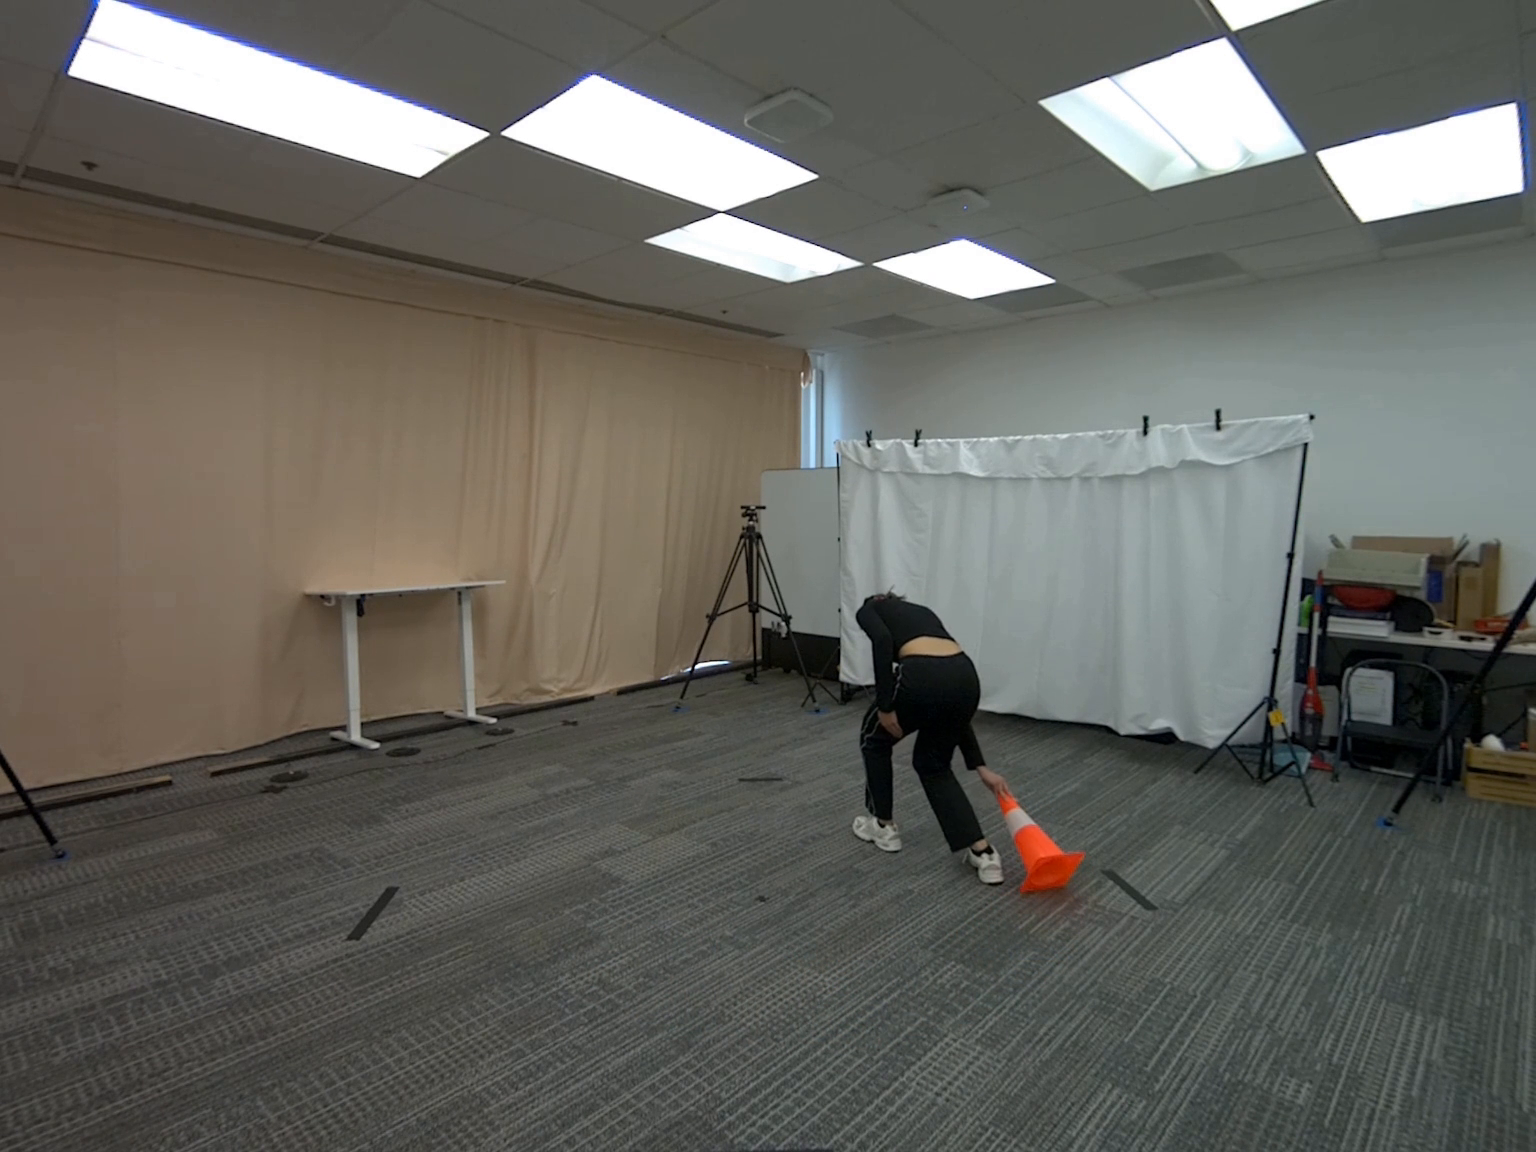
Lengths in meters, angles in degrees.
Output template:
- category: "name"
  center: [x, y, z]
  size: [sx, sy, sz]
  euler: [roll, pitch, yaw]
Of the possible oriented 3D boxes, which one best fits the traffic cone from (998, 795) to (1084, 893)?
- category: "traffic cone"
  center: [0.964, 0.948, 3.148]
  size: [0.201, 0.201, 0.395]
  euler: [1, 33, -18]
